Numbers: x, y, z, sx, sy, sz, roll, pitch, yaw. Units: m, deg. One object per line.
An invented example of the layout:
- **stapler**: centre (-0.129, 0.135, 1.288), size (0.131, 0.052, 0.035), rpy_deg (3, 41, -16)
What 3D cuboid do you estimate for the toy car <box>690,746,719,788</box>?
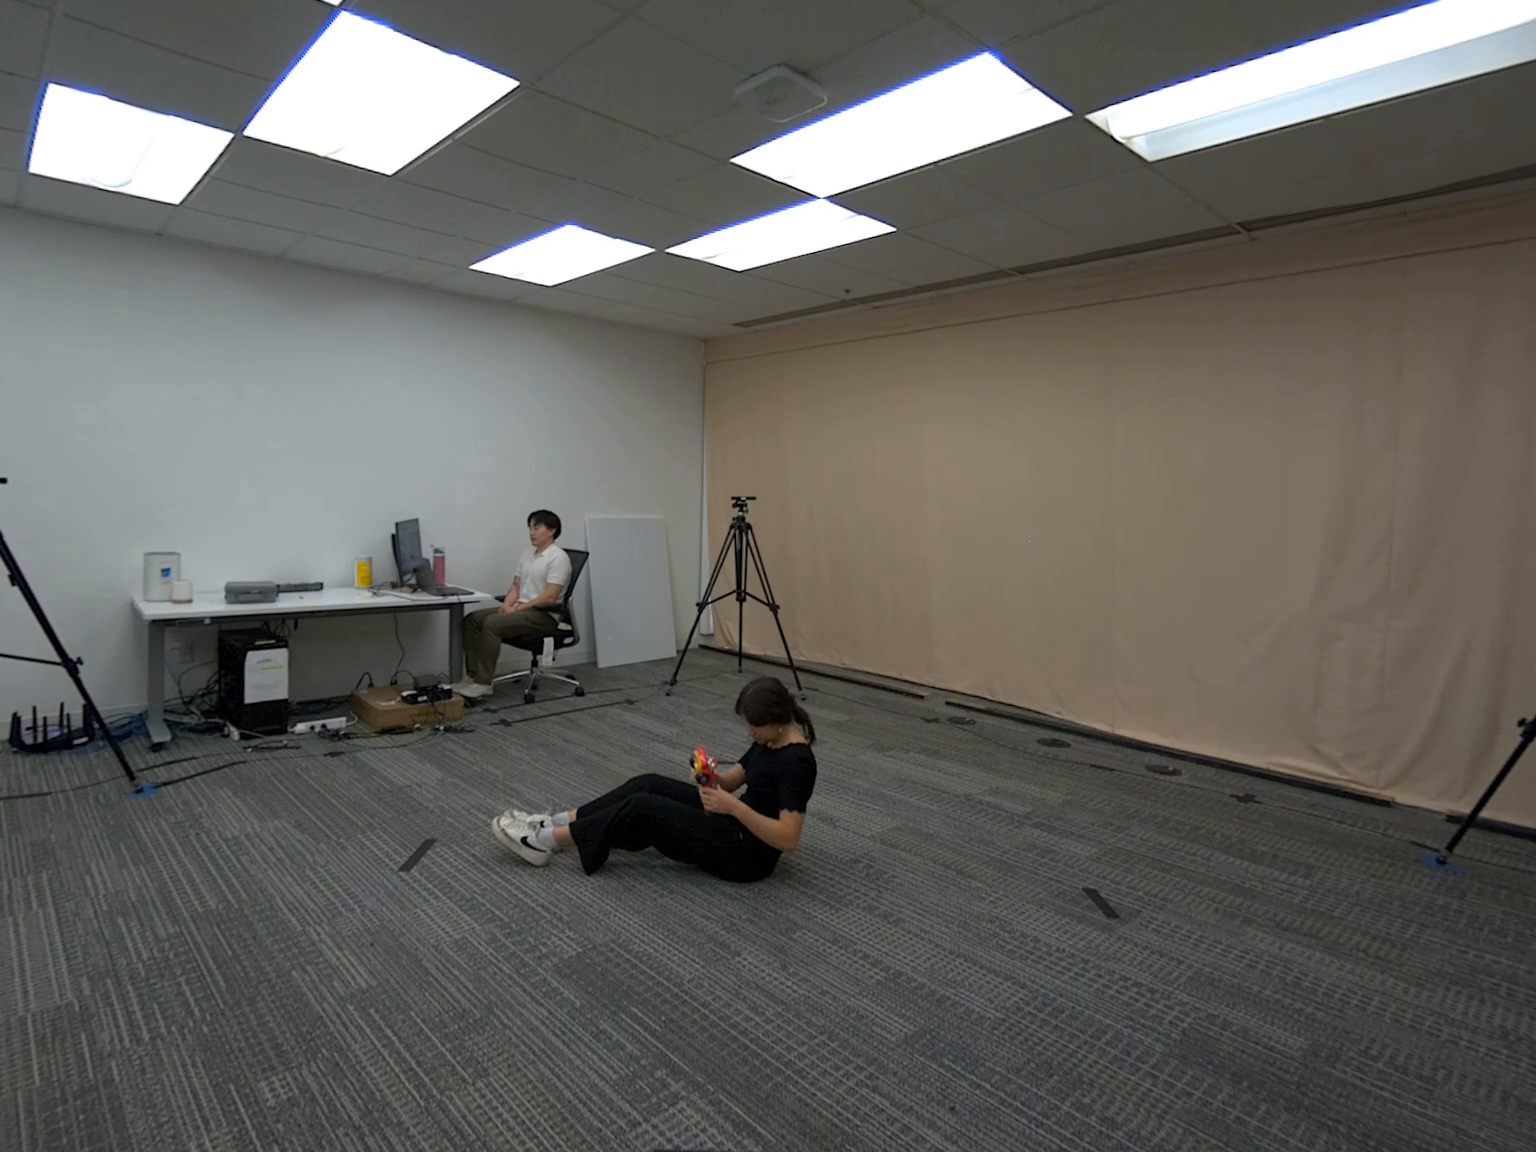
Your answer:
- **toy car**: centre (-0.225, 0.740, 3.021), size (0.082, 0.250, 0.134), rpy_deg (-5, 26, -17)
